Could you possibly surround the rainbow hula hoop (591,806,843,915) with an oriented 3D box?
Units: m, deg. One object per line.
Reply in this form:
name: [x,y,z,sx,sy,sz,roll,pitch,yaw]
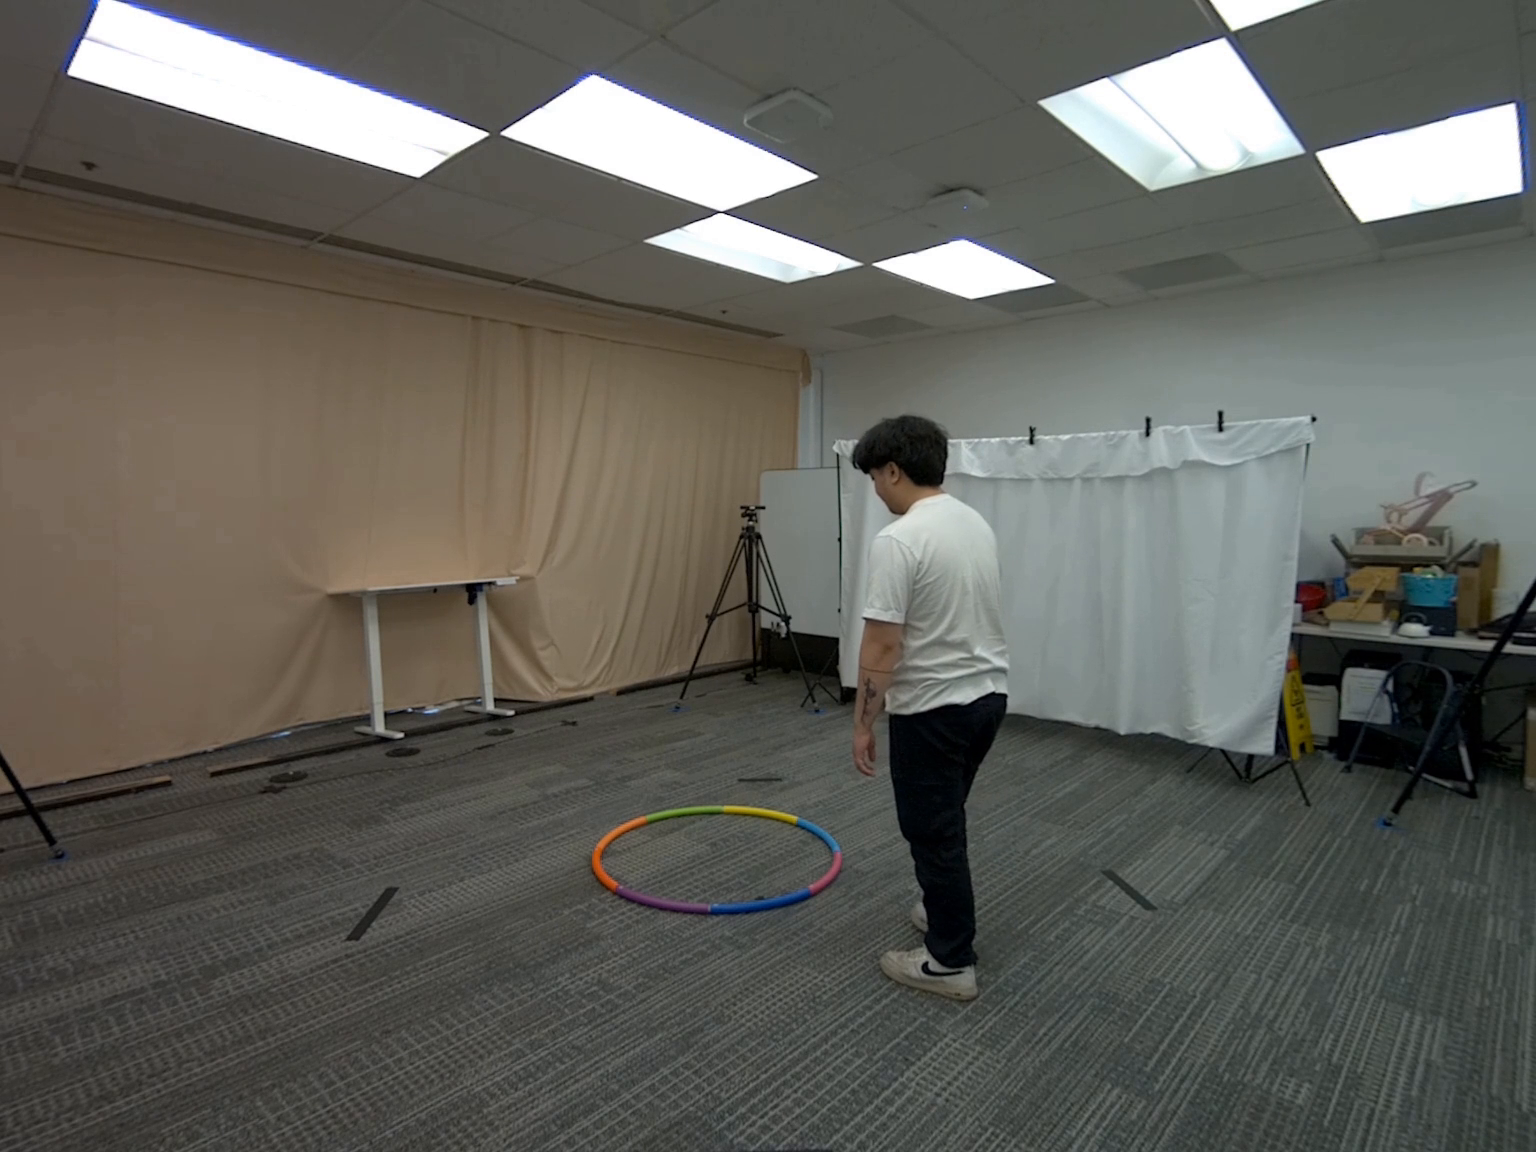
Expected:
rainbow hula hoop: [-0.203,1.088,3.348,0.984,0.051,0.989,0,5,-2]
